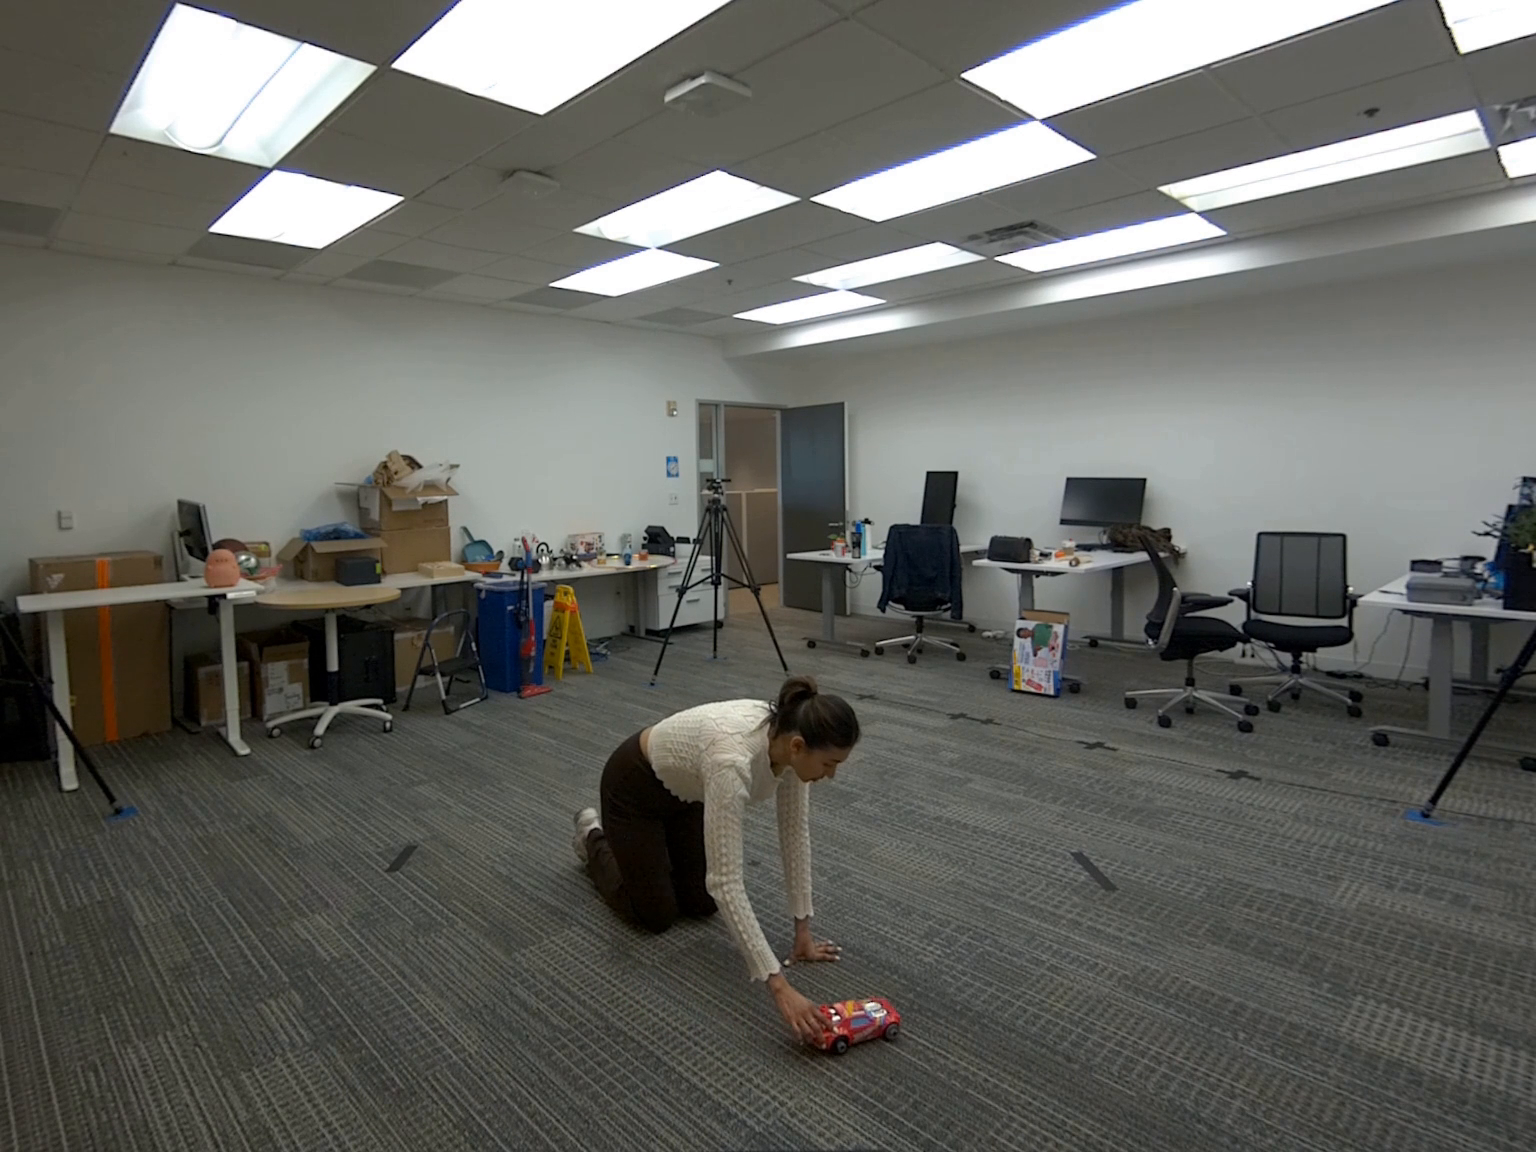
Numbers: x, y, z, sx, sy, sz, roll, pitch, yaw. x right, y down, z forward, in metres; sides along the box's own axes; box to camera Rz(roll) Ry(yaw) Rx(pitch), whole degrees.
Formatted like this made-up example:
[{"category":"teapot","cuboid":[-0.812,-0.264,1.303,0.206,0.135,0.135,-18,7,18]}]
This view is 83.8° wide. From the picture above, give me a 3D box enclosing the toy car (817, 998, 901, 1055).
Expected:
[{"category":"toy car","cuboid":[0.207,1.122,2.137,0.249,0.083,0.133,7,3,-22]}]
